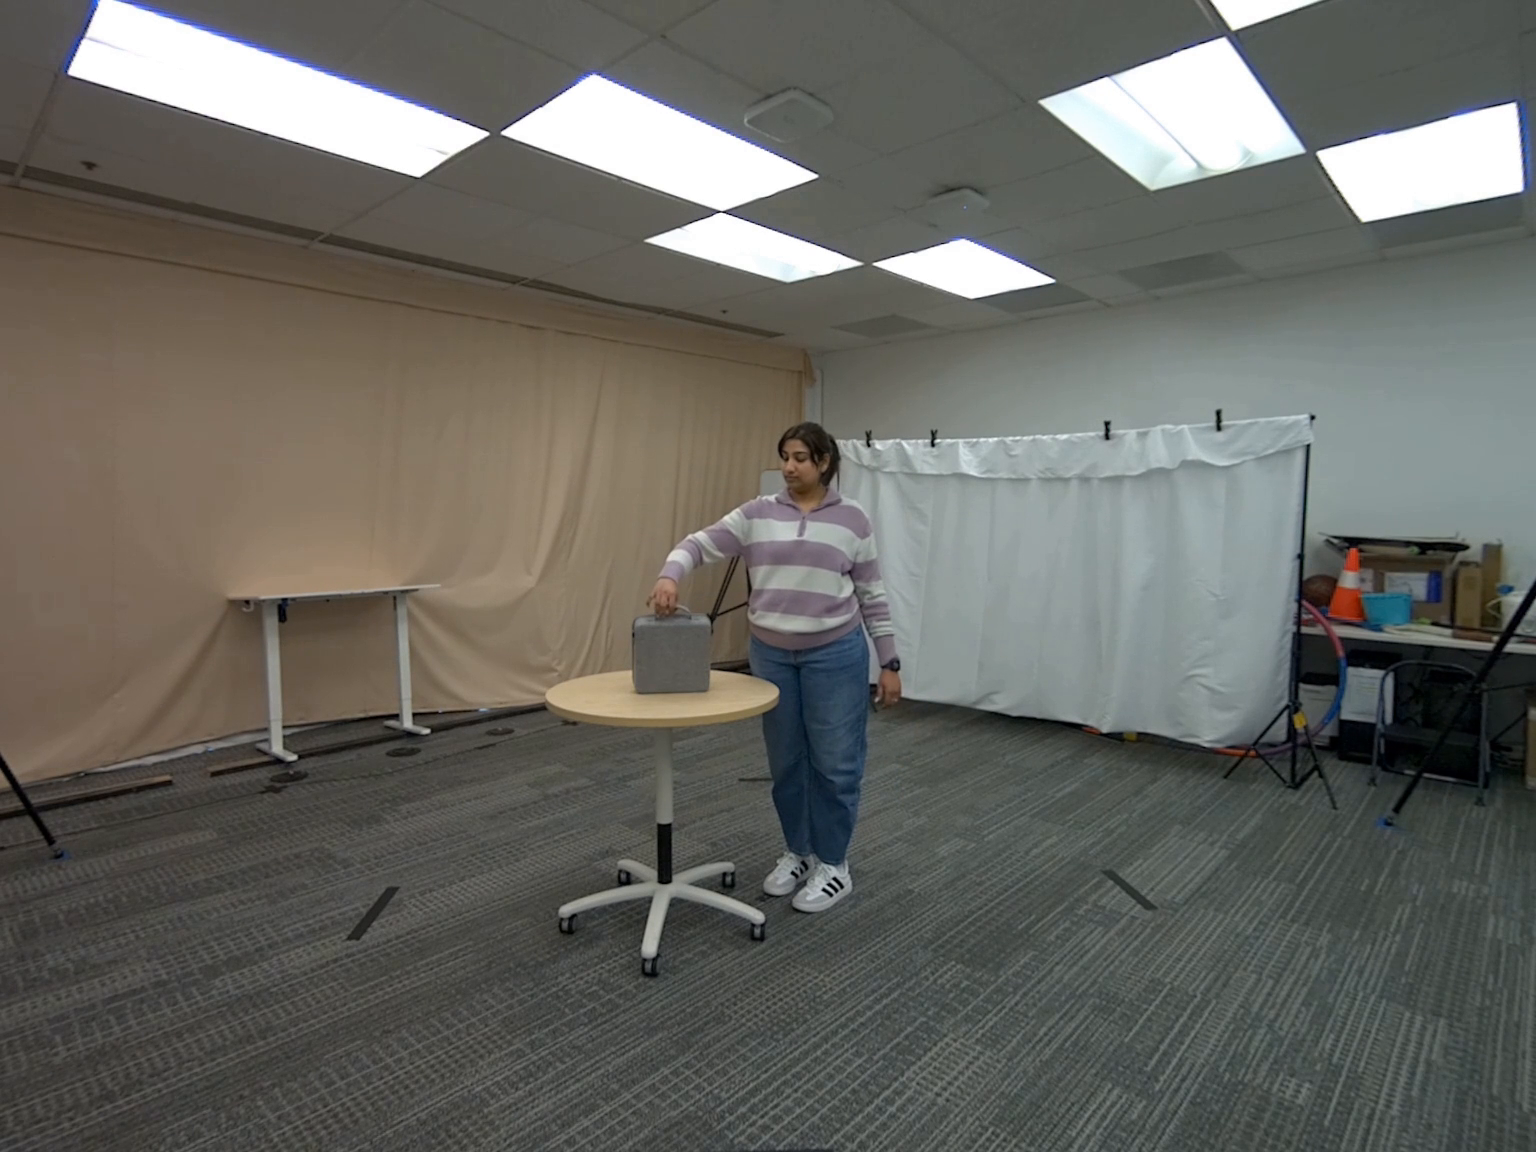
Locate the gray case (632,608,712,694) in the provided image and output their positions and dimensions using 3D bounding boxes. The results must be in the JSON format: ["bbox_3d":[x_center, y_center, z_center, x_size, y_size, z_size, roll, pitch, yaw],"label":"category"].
[{"bbox_3d":[-0.314,0.251,2.746,0.255,0.258,0.106,-3,12,-6],"label":"gray case"}]
